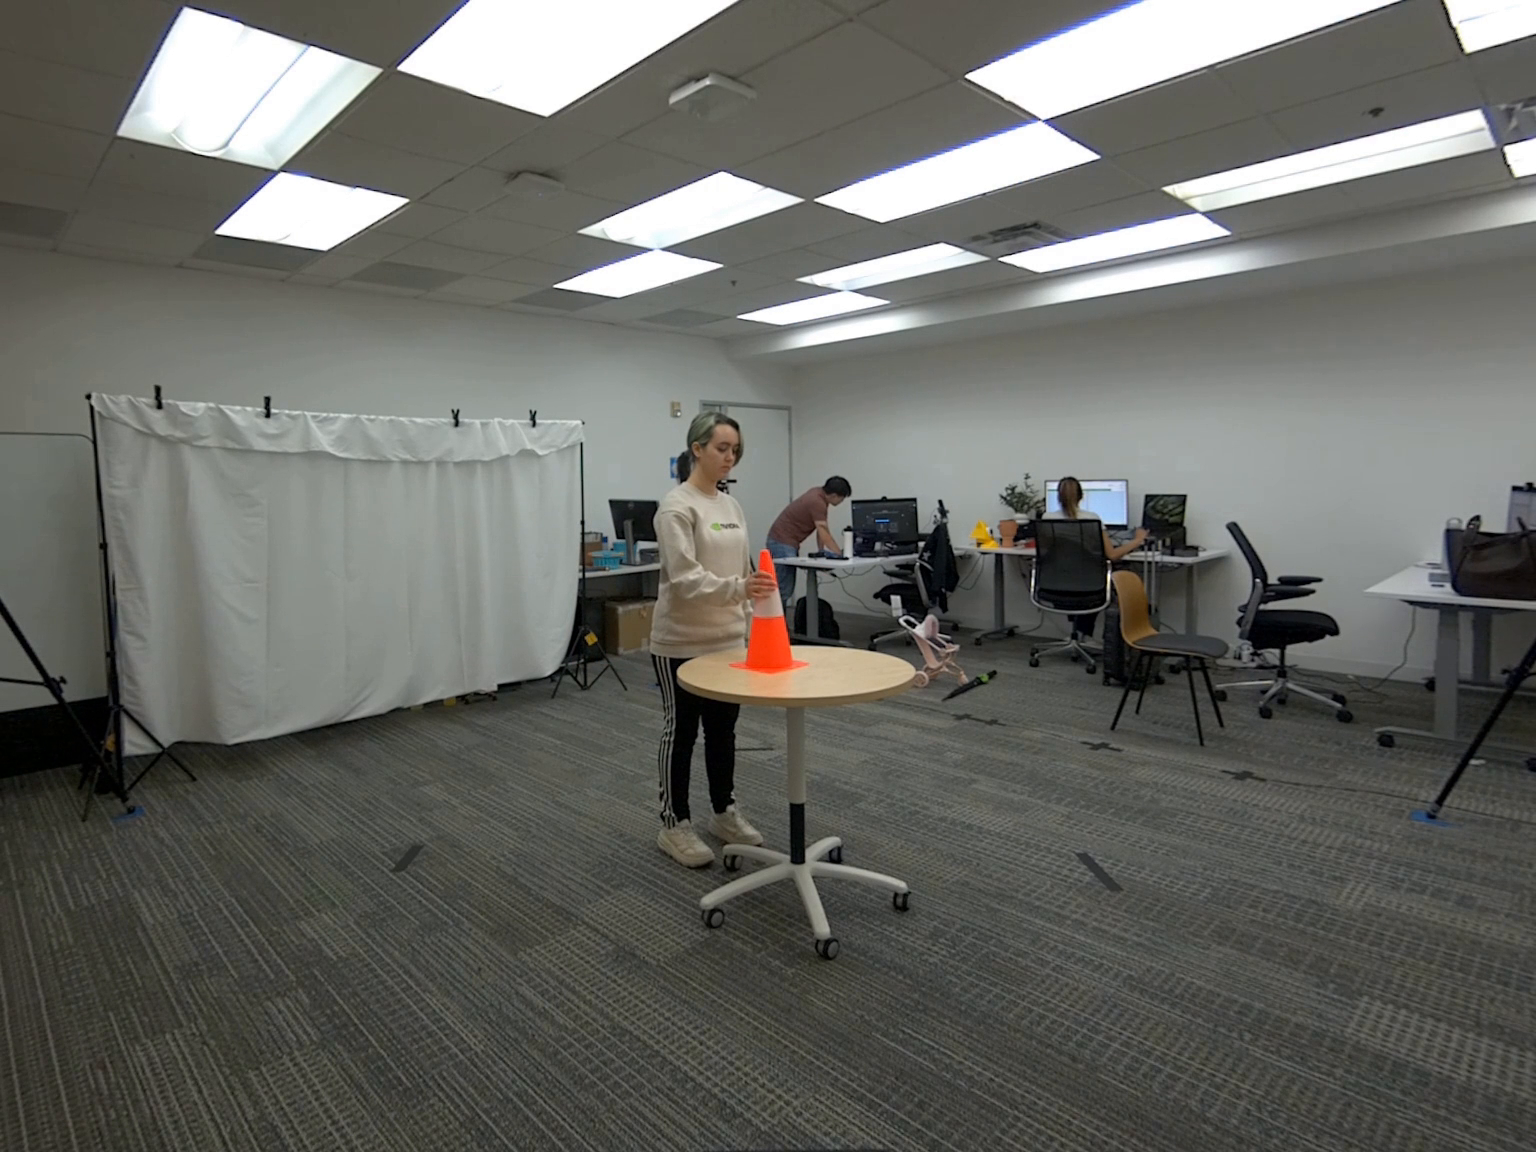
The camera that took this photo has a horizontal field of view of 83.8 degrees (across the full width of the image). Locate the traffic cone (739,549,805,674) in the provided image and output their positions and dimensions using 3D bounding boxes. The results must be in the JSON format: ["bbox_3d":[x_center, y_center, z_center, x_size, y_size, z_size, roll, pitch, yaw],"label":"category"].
[{"bbox_3d":[-0.004,0.110,2.813,0.209,0.381,0.200,2,7,38],"label":"traffic cone"}]
